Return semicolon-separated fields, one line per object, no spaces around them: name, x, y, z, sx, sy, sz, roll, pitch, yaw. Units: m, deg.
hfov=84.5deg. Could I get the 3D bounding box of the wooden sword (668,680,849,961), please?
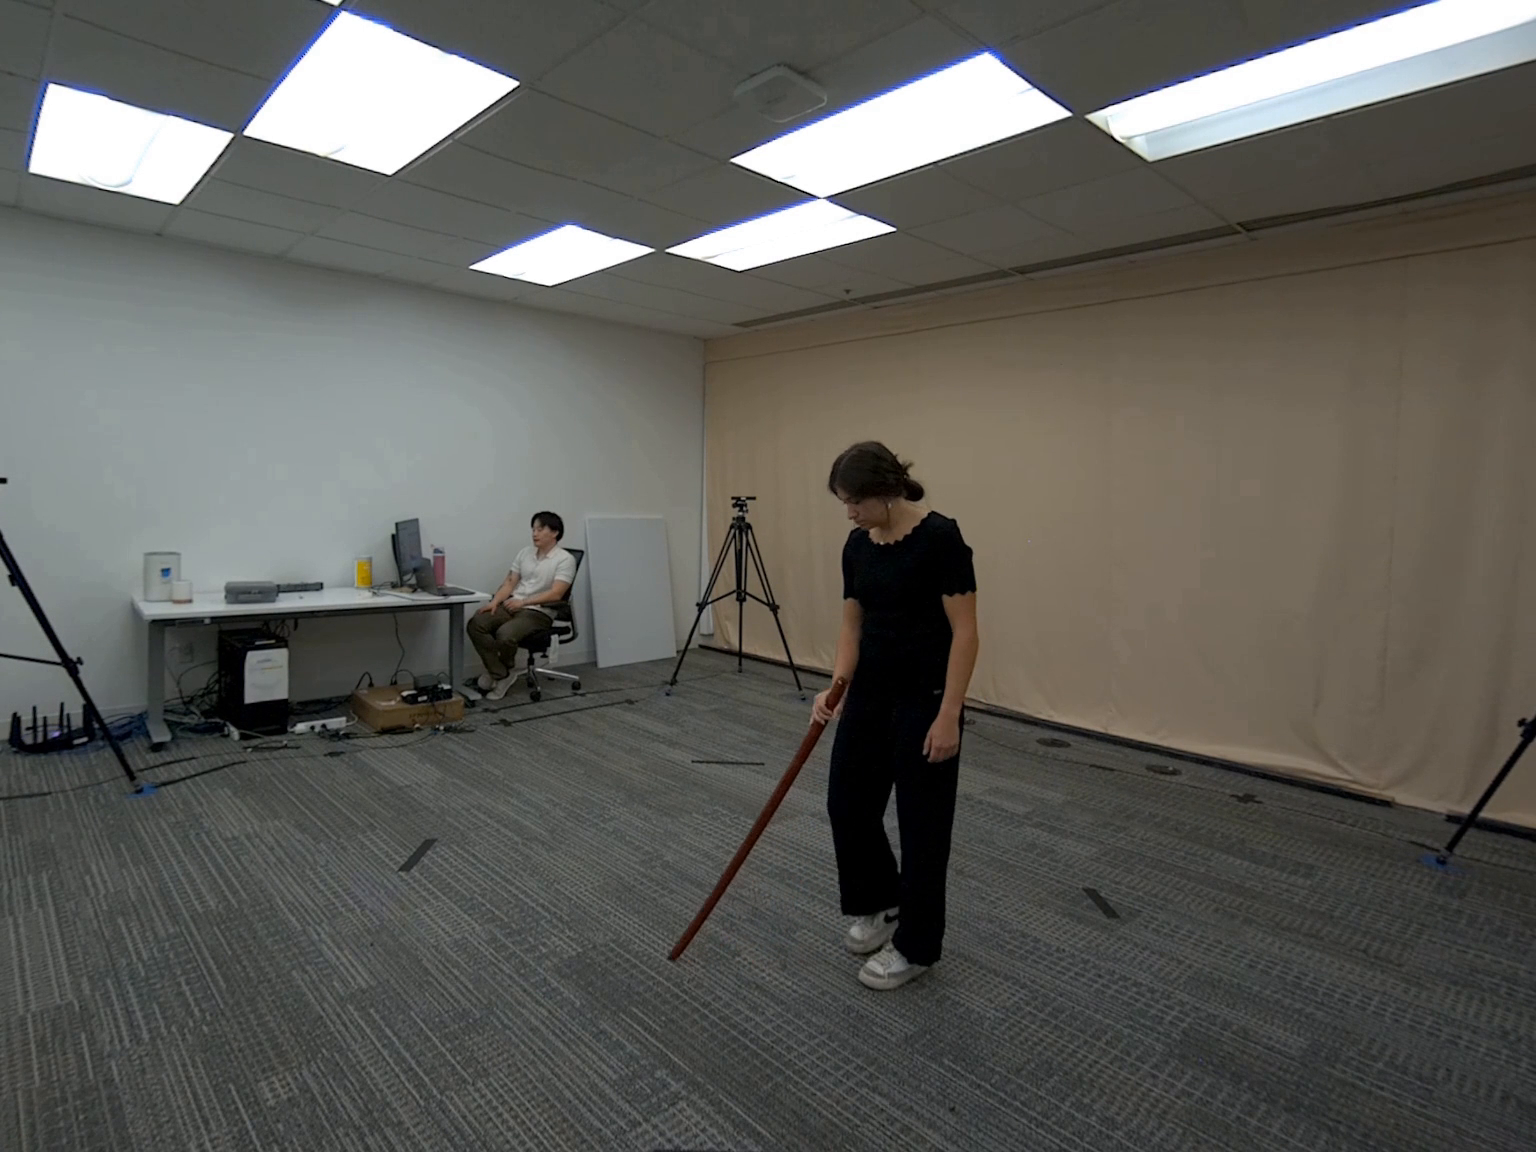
wooden sword;-0.044;0.740;2.430;0.023;1.022;0.052;27;11;-27
